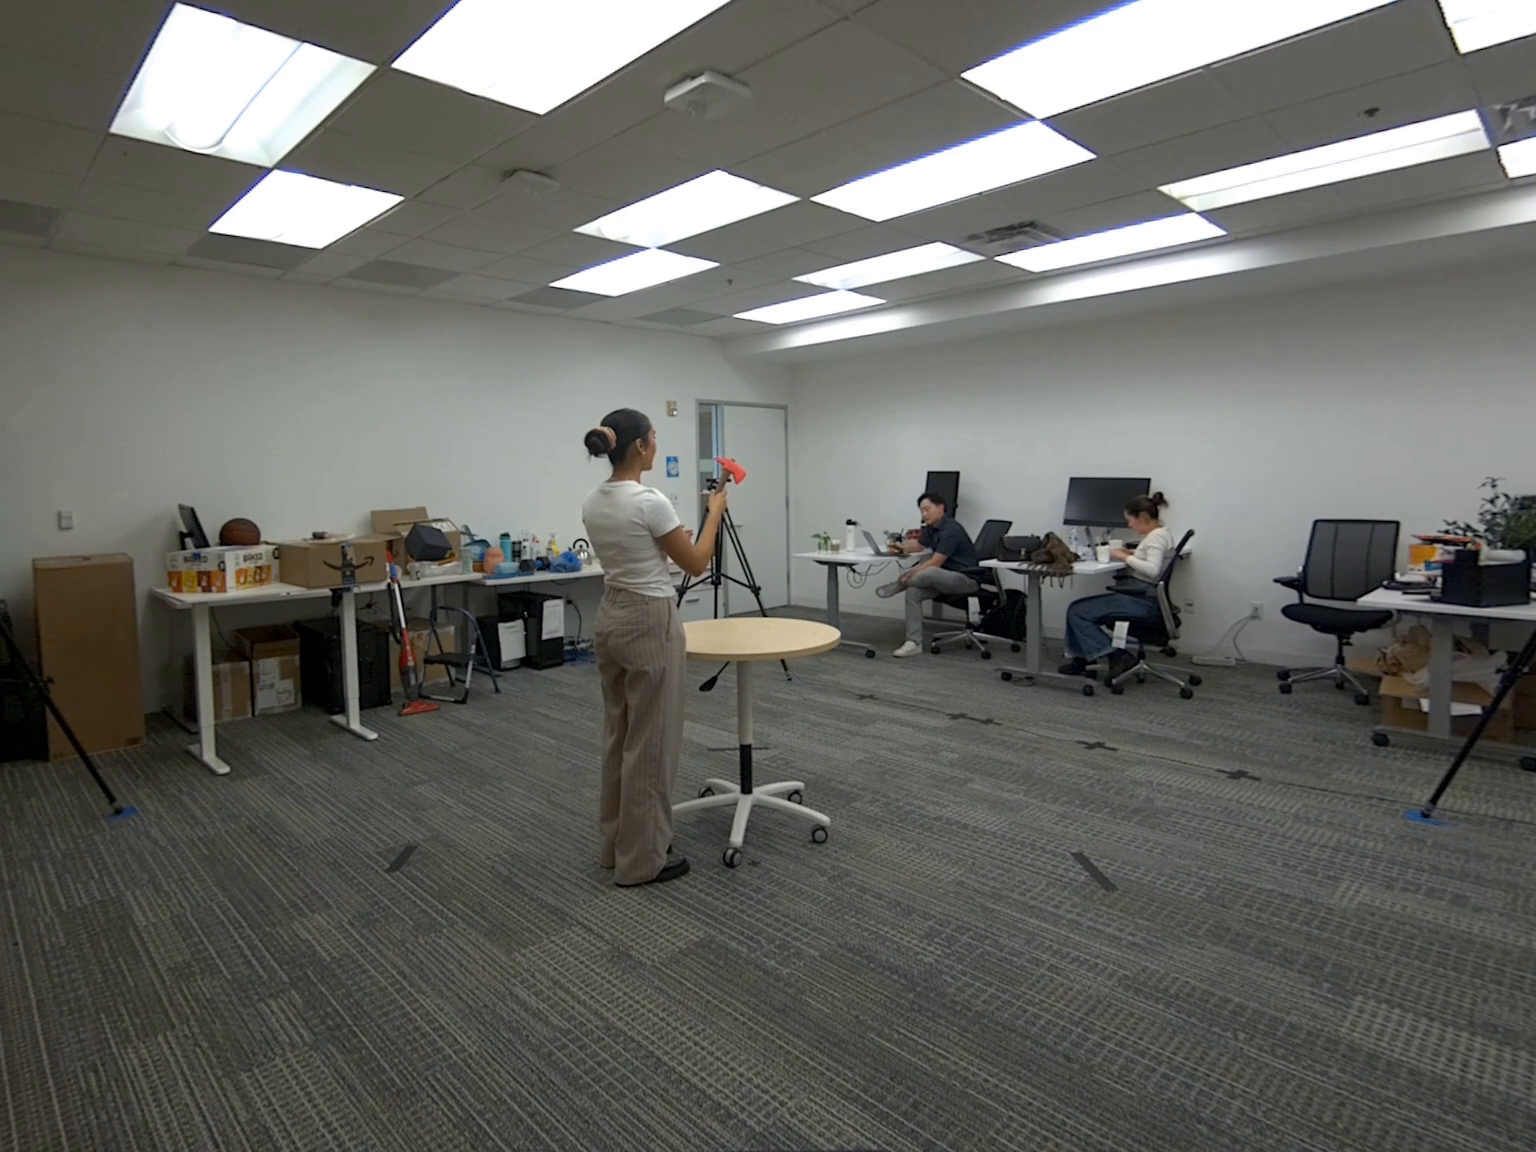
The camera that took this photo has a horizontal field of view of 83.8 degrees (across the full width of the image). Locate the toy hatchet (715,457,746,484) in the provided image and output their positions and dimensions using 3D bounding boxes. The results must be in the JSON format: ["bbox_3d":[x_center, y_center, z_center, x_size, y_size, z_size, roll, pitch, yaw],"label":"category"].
[{"bbox_3d":[-0.155,-0.316,3.216,0.128,0.273,0.030,11,-16,-17],"label":"toy hatchet"}]
